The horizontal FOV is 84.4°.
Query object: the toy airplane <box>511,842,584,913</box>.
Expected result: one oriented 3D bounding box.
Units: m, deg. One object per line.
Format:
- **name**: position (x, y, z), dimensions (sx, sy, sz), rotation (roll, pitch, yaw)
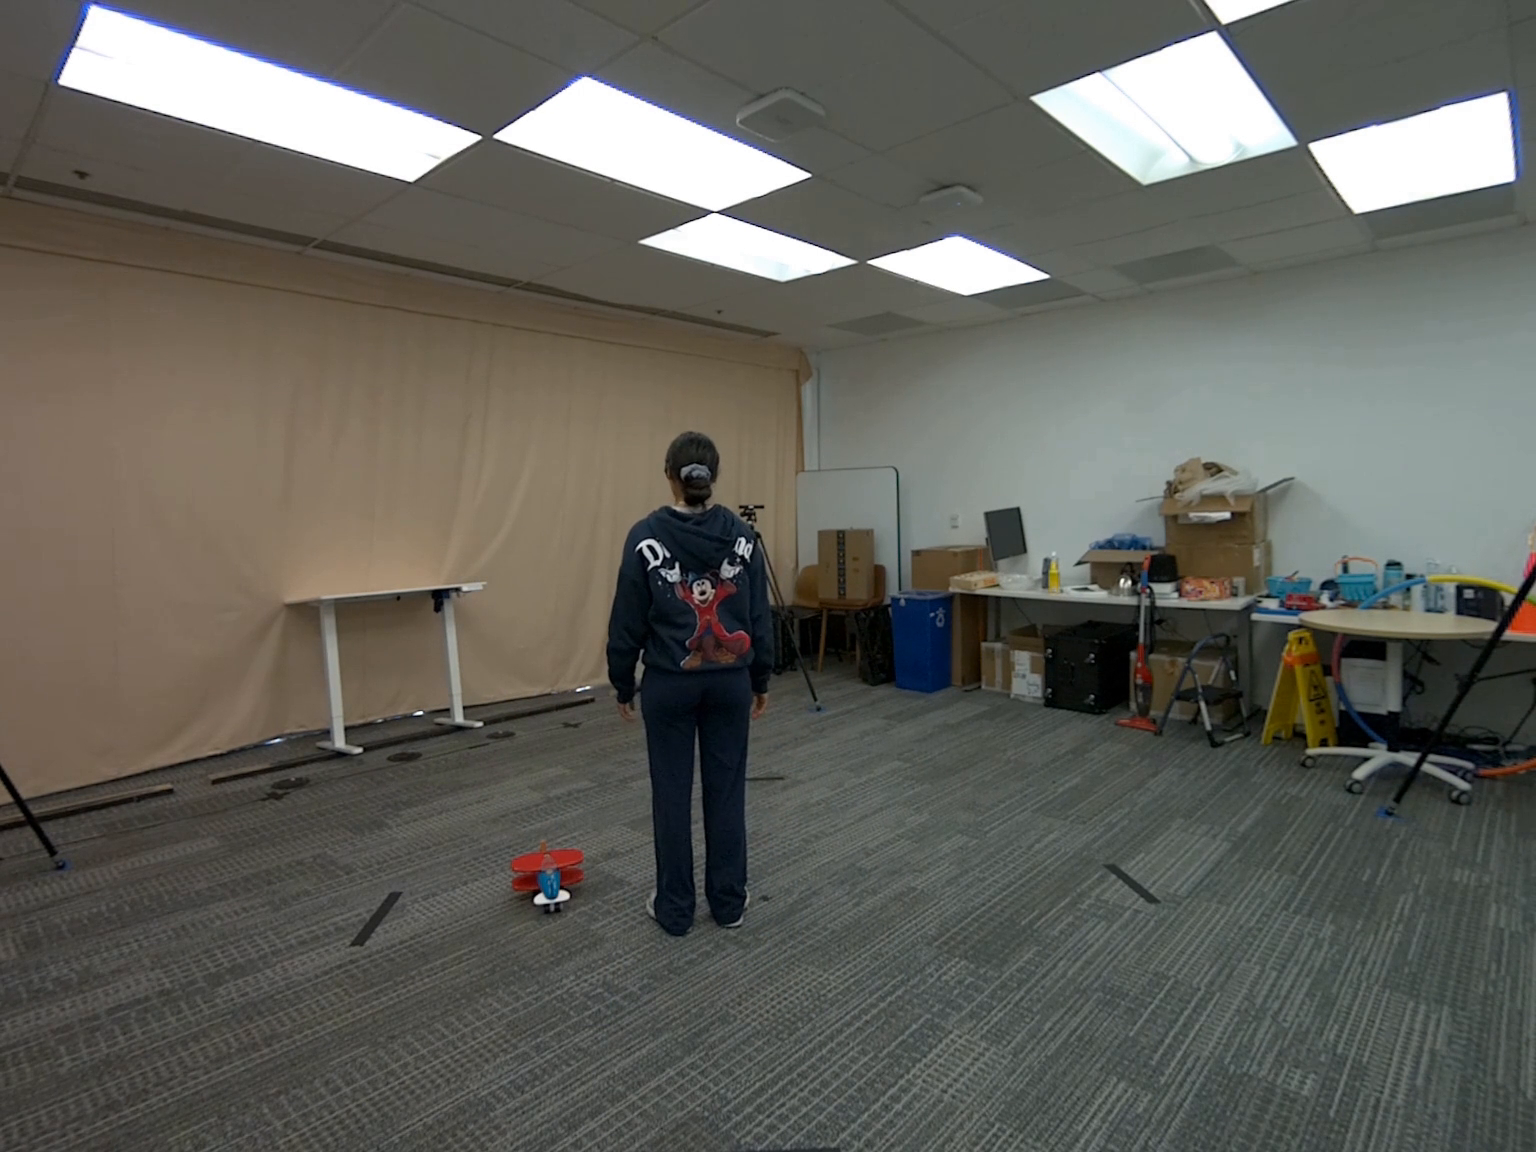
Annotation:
- **toy airplane**: position (-0.763, 1.081, 3.005), dimensions (0.267, 0.156, 0.243), rotation (0, 4, 44)
